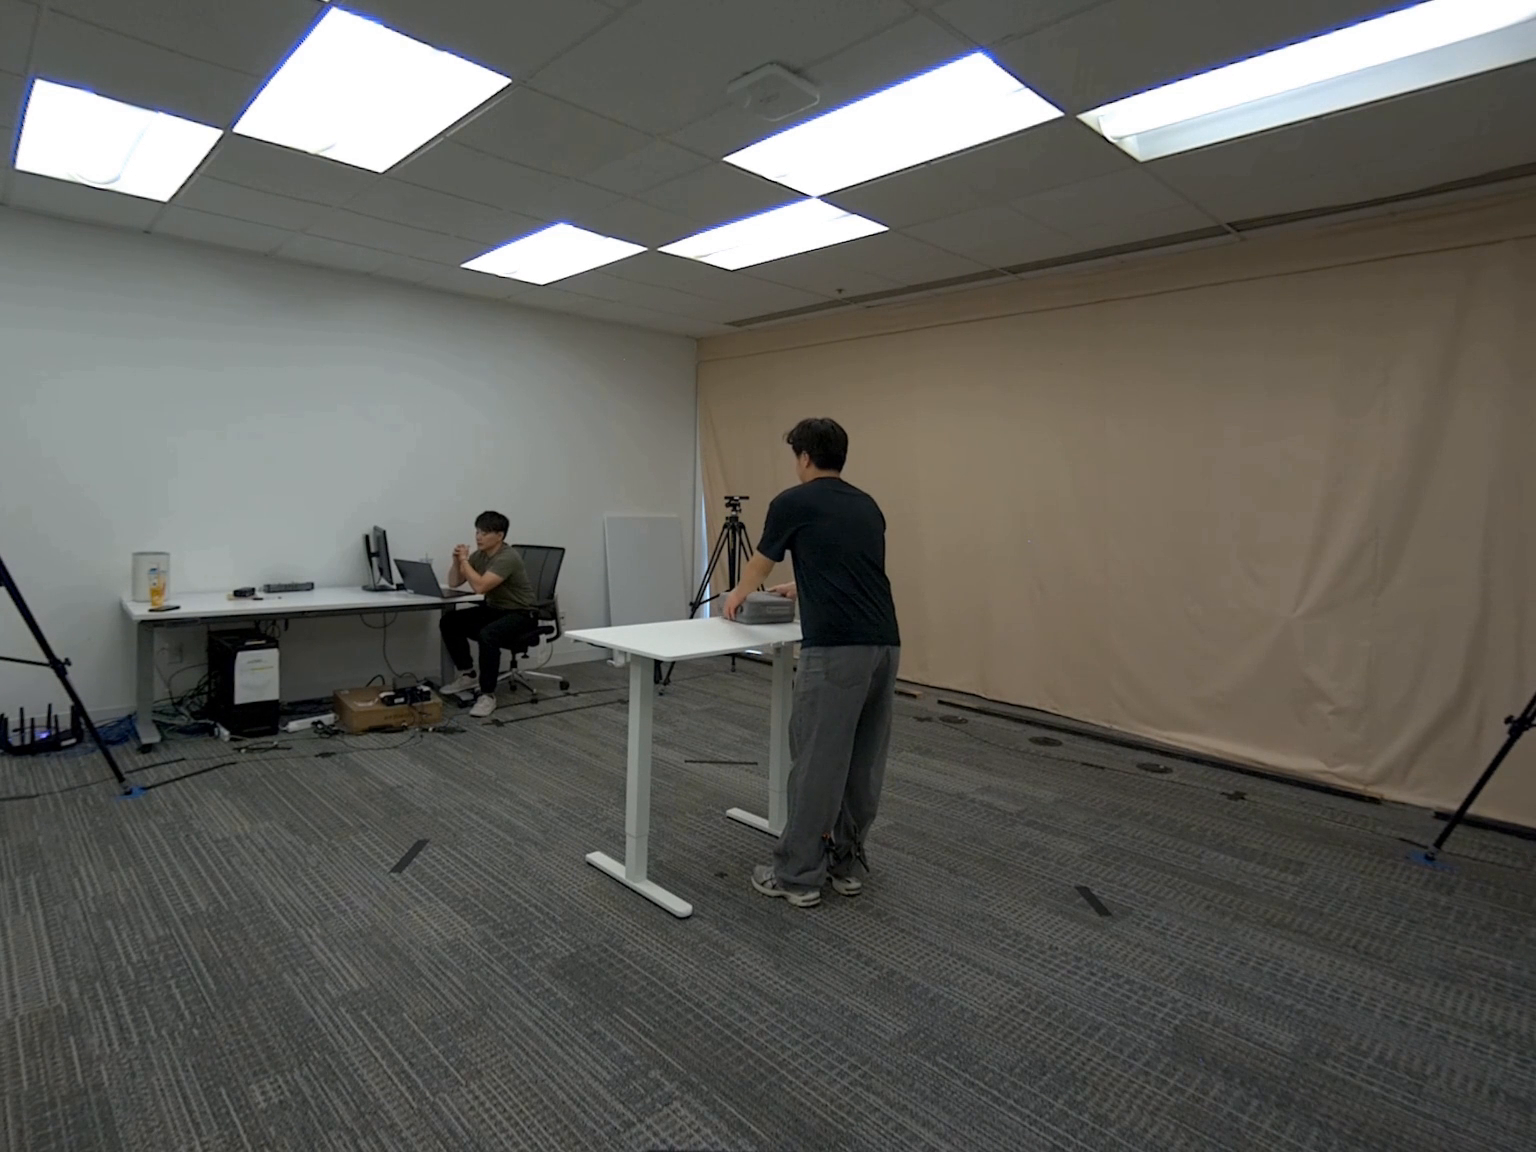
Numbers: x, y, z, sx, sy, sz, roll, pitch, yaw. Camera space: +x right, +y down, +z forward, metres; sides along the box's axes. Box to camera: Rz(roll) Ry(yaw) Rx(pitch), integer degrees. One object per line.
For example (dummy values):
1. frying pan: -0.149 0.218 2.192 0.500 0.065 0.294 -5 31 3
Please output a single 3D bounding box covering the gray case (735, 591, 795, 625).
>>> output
1. gray case: -0.048 0.135 3.540 0.251 0.104 0.267 0 6 -32
